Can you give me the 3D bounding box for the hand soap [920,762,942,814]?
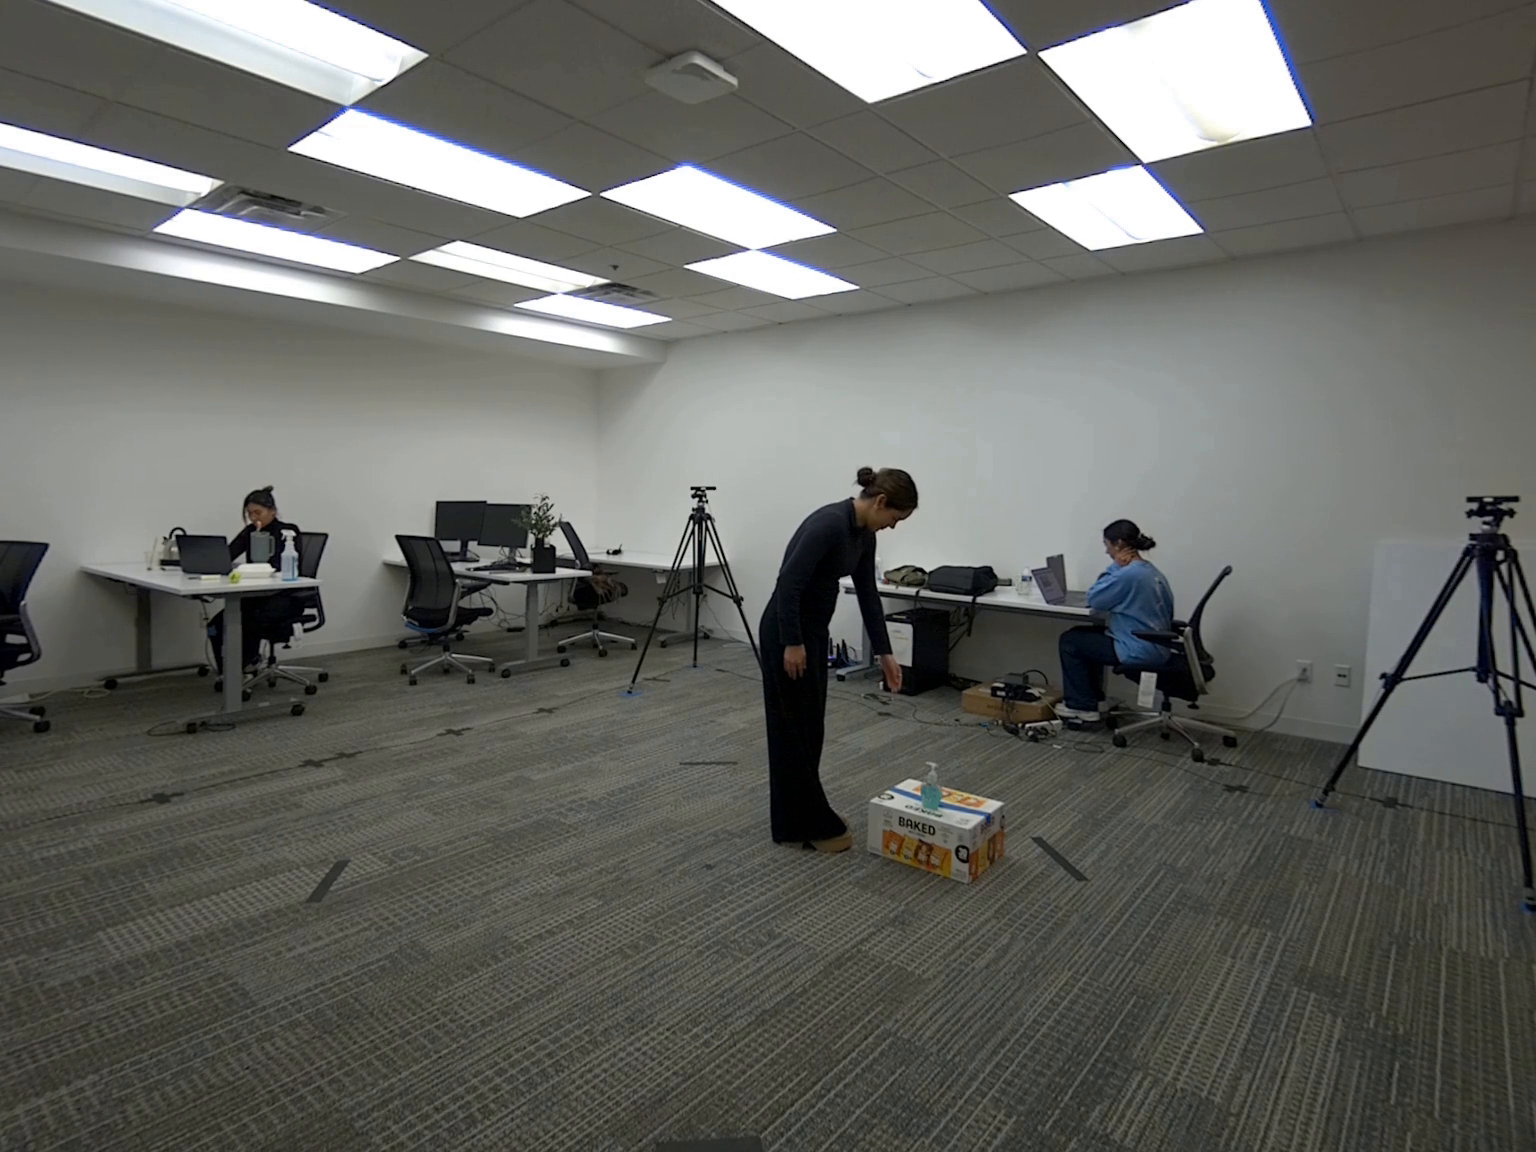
[{"bbox_3d":[0.613,0.791,3.230,0.087,0.168,0.042,9,4,41],"label":"hand soap"}]
